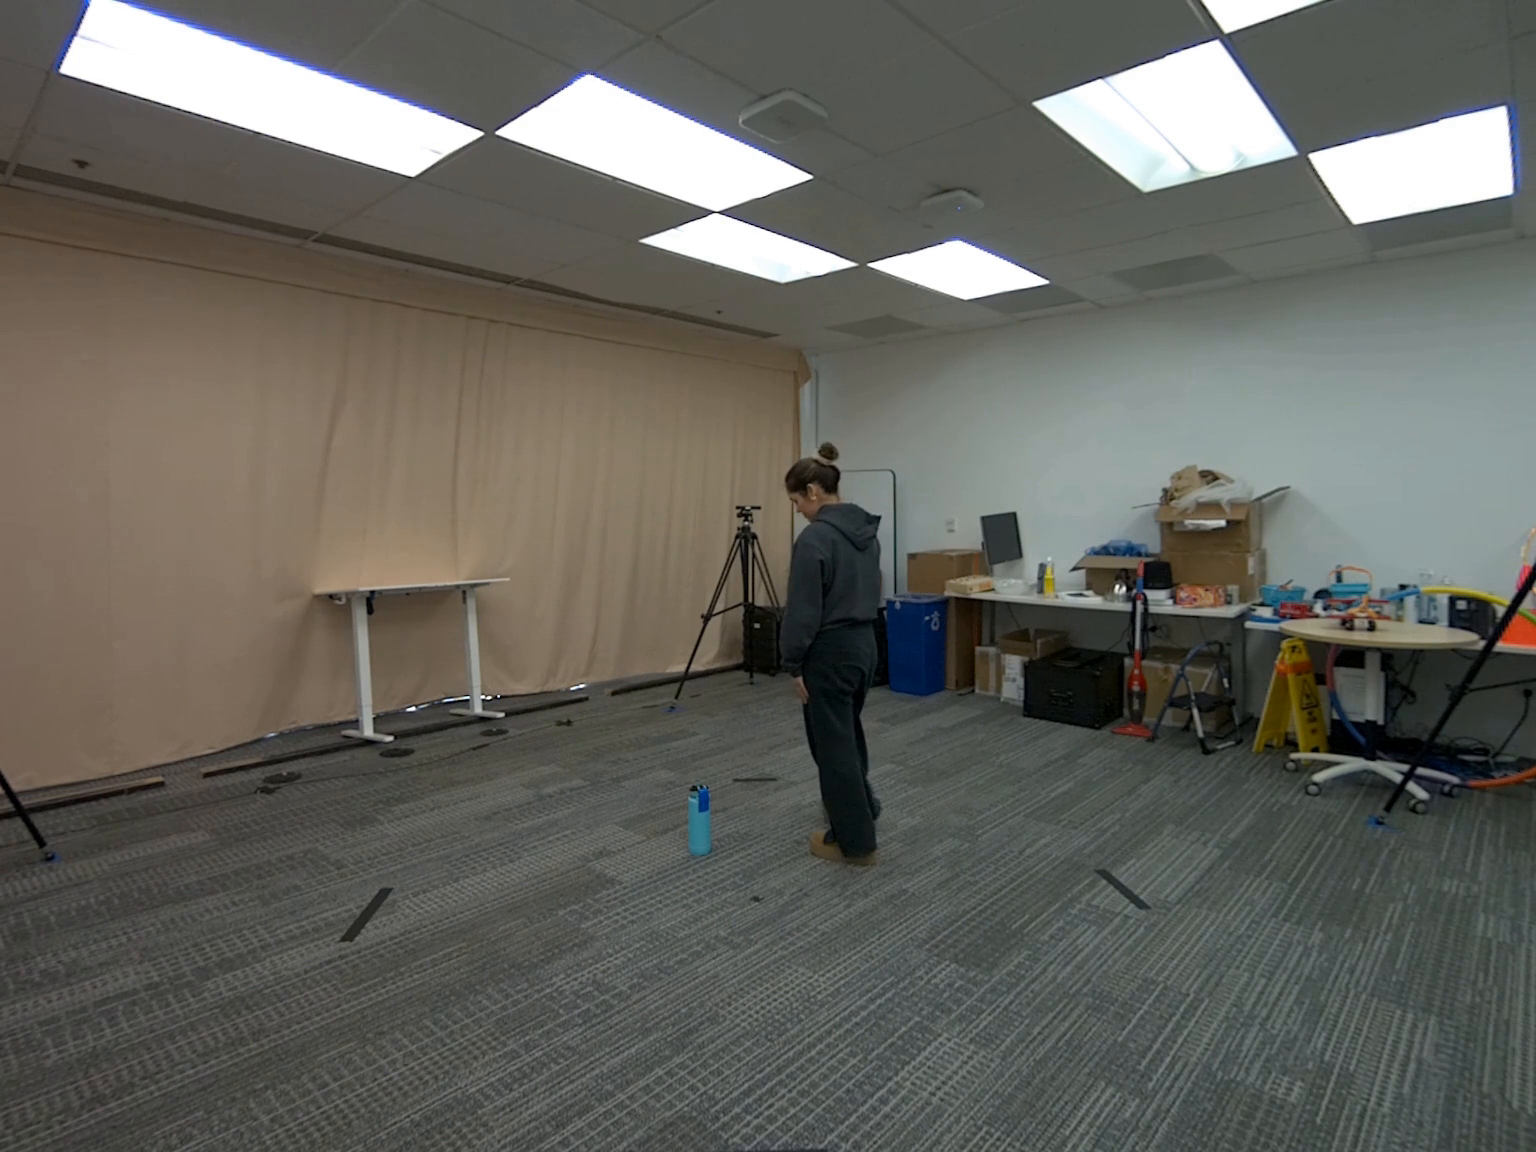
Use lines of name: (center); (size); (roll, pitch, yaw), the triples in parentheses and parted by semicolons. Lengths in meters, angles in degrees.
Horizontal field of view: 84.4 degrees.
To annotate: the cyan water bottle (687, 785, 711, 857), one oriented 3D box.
cyan water bottle: (-0.256, 0.975, 3.396); (0.092, 0.283, 0.092); (-1, 4, -2)
